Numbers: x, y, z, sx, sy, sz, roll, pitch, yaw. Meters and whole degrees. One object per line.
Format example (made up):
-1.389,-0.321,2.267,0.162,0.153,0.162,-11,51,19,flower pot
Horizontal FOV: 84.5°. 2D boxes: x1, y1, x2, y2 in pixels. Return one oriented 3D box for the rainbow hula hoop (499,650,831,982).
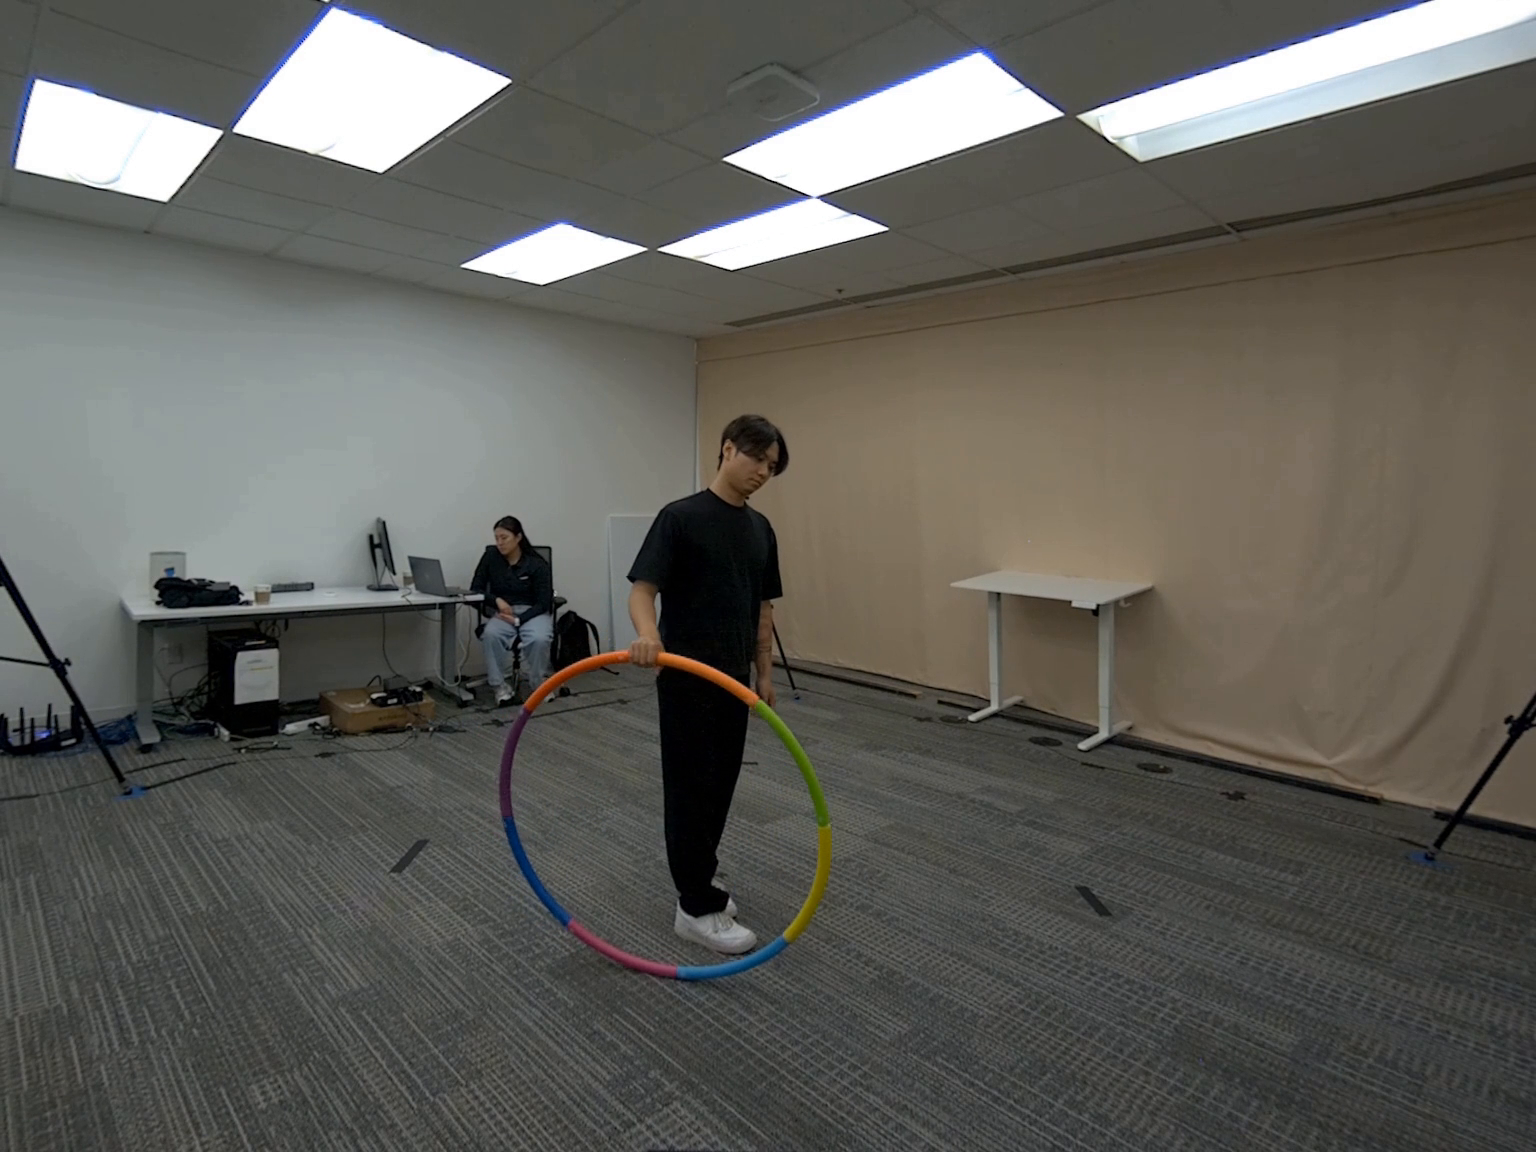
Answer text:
-0.317,0.686,2.366,0.992,0.970,0.035,3,11,17,rainbow hula hoop
